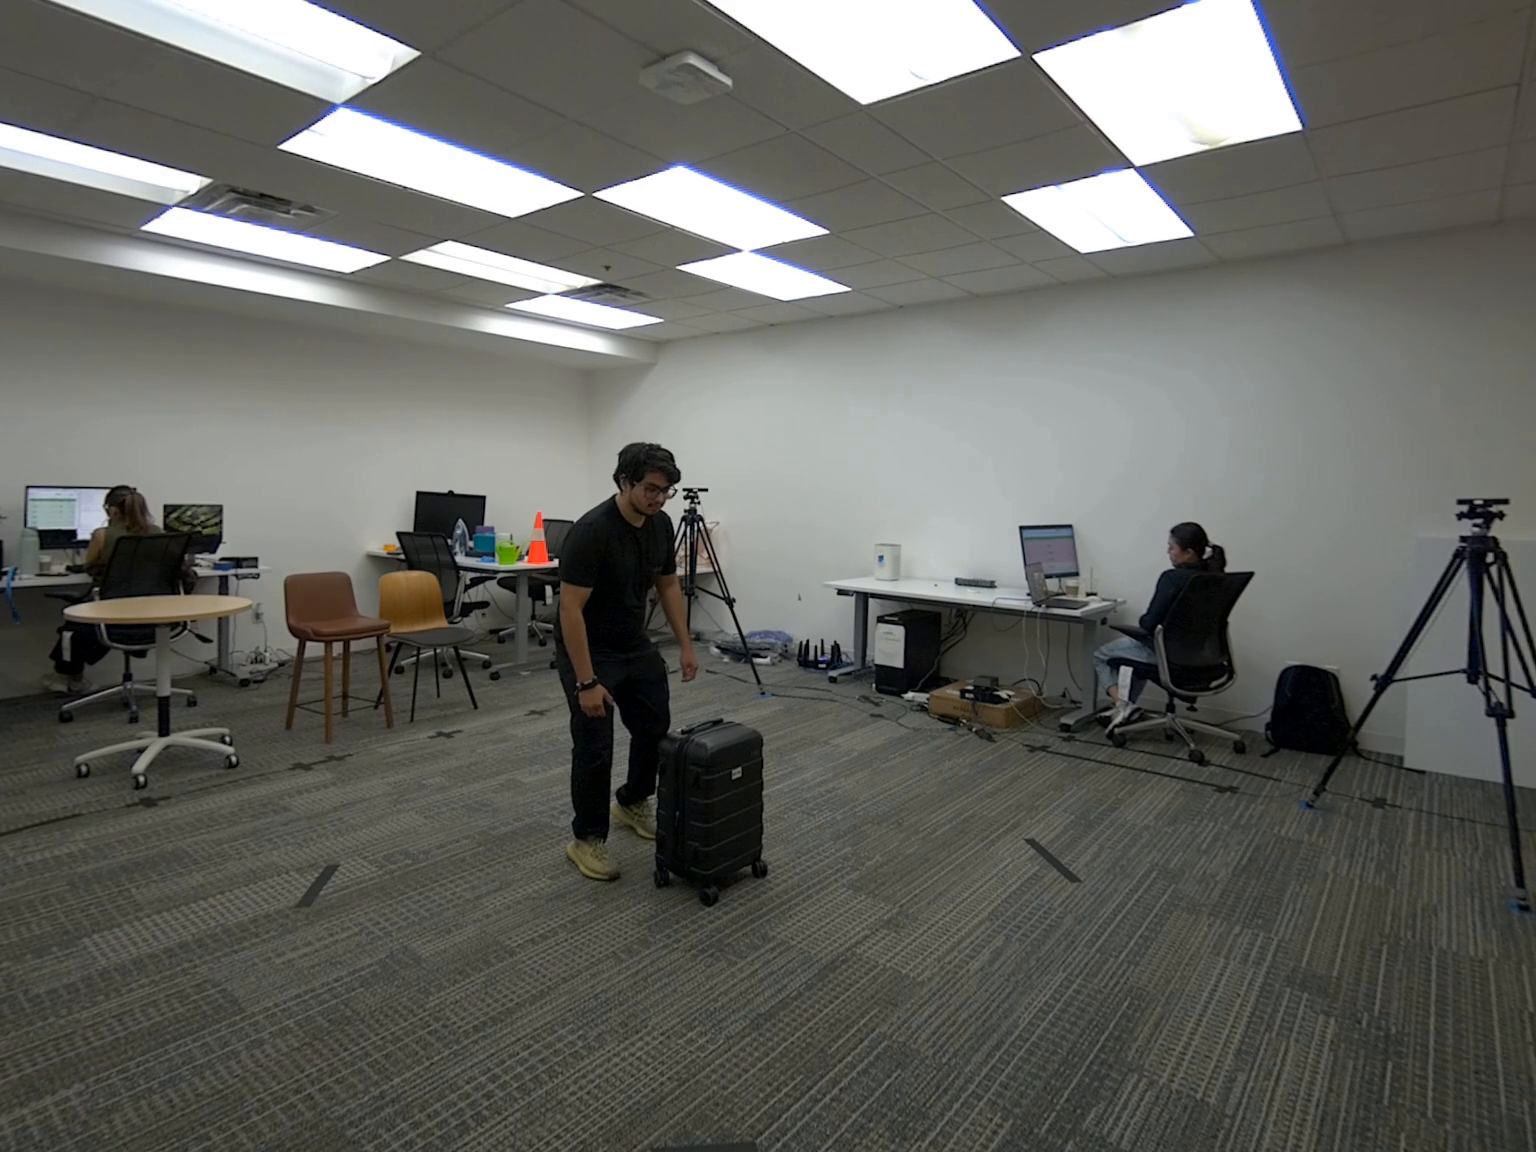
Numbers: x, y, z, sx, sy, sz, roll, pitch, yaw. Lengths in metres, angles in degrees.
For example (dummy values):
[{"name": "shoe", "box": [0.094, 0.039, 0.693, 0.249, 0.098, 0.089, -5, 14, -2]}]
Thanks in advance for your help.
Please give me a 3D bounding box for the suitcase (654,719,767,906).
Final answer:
[{"name": "suitcase", "box": [-0.208, 0.802, 3.025, 0.256, 0.548, 0.364, 2, 2, 38]}]
